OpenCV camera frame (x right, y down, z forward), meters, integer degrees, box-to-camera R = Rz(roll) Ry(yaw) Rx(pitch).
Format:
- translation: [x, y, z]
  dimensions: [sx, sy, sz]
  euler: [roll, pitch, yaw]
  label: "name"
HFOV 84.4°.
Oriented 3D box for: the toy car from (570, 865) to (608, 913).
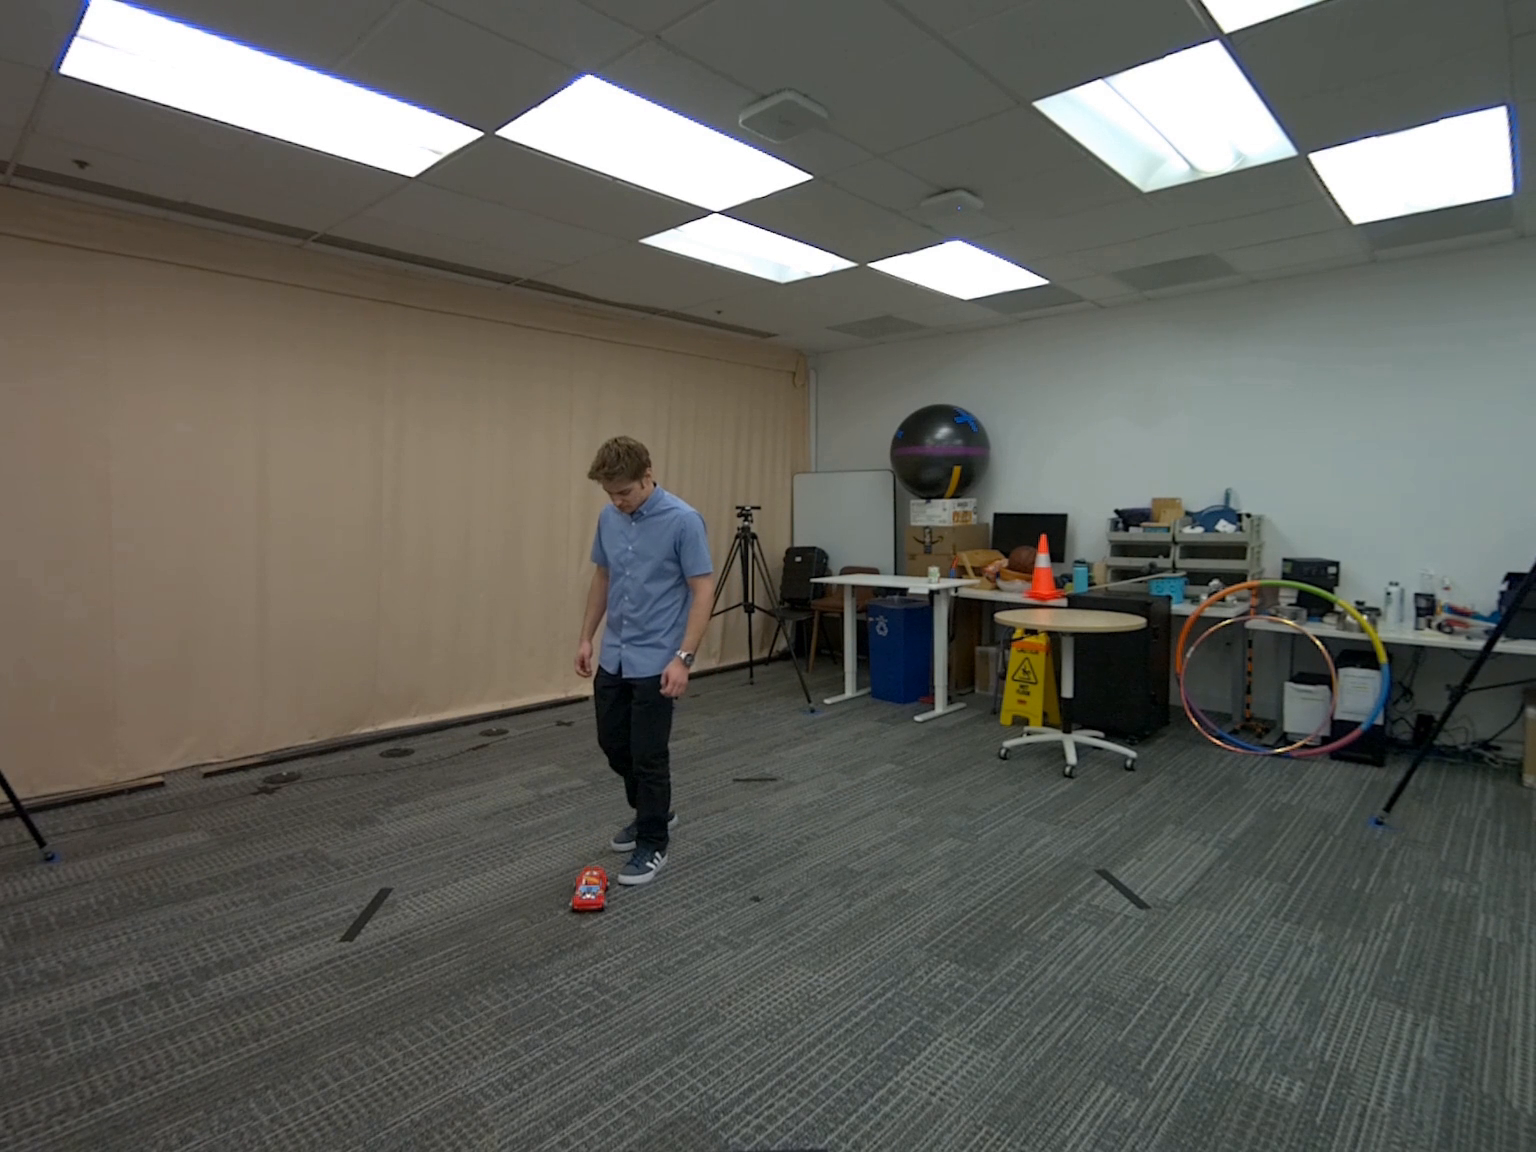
- translation: [-0.632, 1.113, 2.994]
  dimensions: [0.129, 0.082, 0.258]
  euler: [-1, 15, -8]
  label: "toy car"
